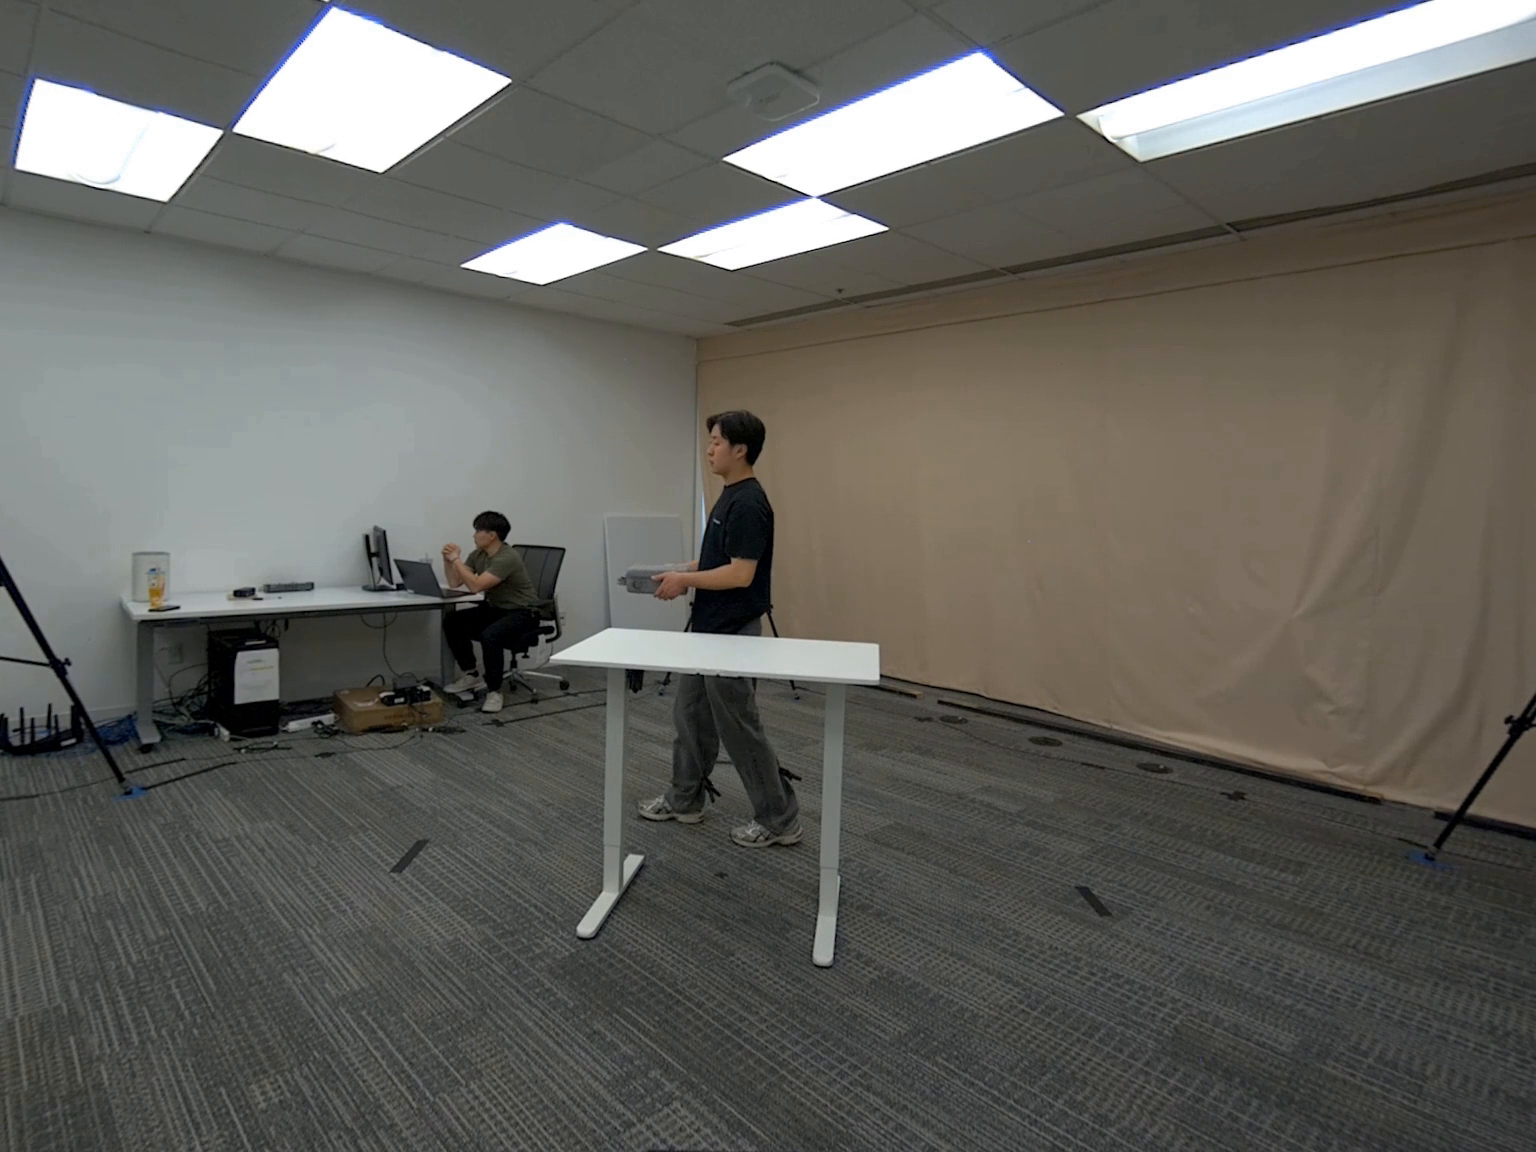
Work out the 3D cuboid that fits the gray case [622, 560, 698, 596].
[{"bbox_3d":[-0.450,0.007,3.450,0.288,0.102,0.263,2,6,3],"label":"gray case"}]
